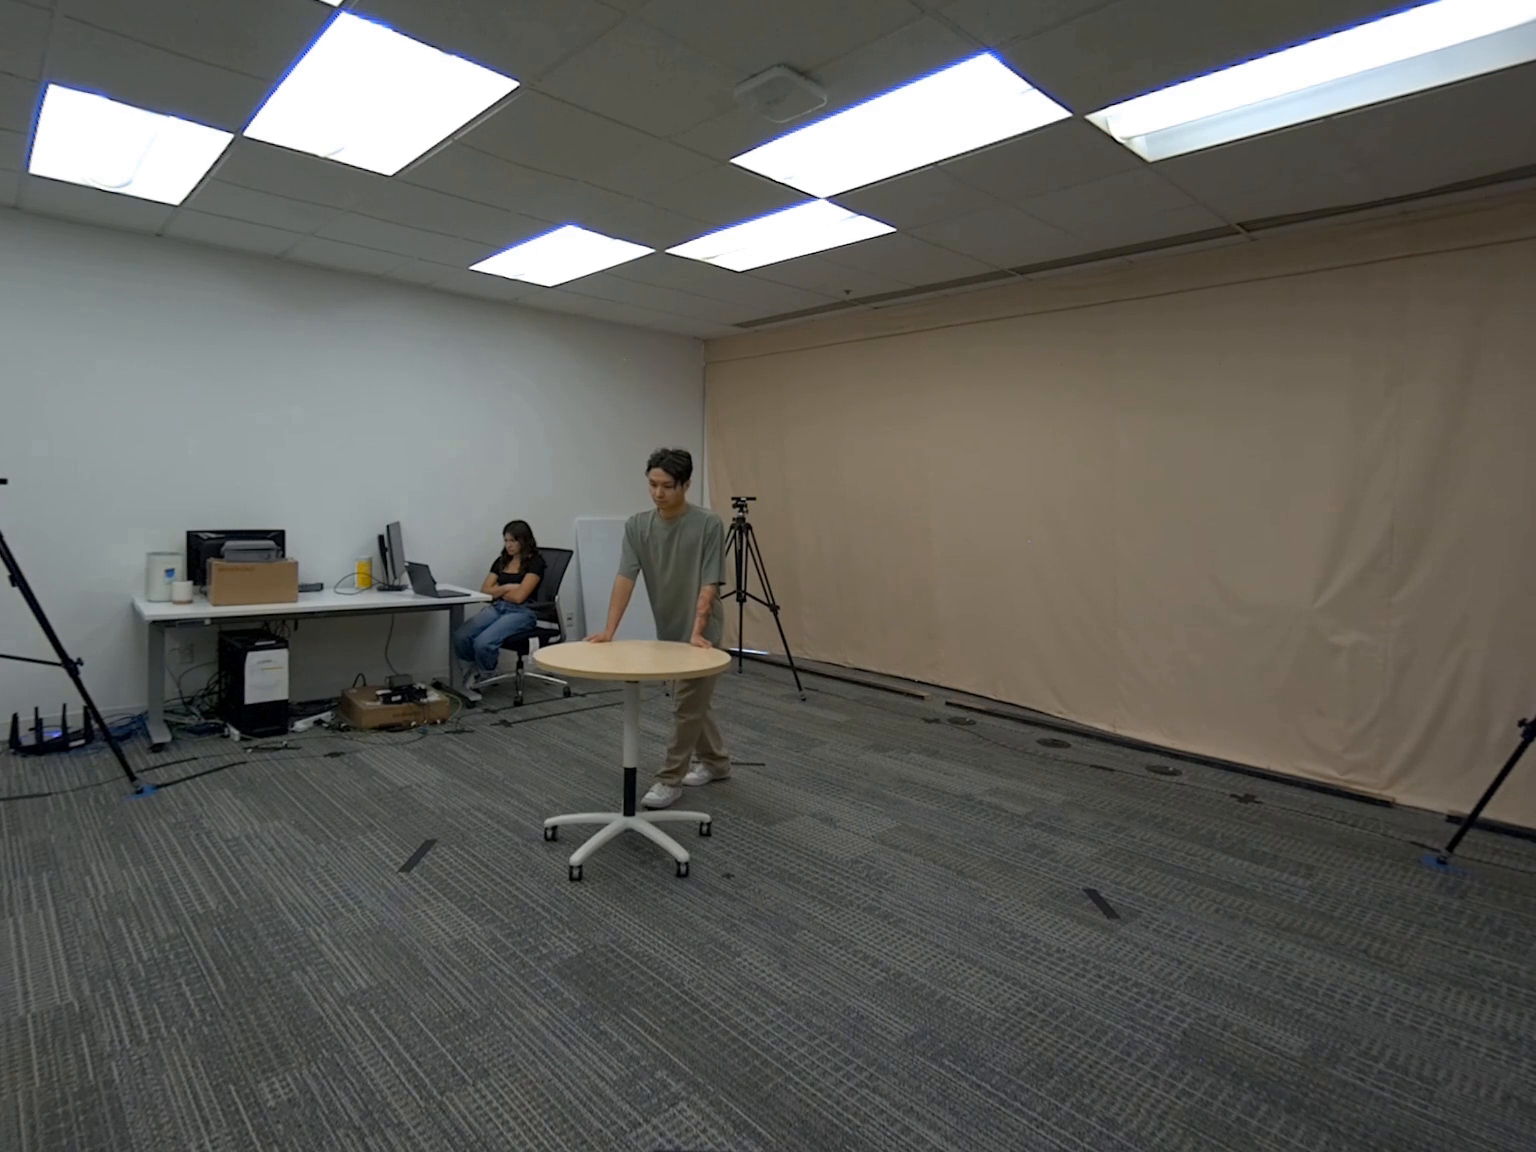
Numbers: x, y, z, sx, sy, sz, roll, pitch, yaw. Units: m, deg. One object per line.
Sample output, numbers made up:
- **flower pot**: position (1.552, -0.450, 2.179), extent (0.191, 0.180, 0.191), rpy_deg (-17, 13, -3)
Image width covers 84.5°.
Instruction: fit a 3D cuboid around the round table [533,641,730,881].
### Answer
- **round table**: position (-0.560, 0.694, 3.291), extent (0.784, 0.785, 0.787), rpy_deg (1, 3, -1)
